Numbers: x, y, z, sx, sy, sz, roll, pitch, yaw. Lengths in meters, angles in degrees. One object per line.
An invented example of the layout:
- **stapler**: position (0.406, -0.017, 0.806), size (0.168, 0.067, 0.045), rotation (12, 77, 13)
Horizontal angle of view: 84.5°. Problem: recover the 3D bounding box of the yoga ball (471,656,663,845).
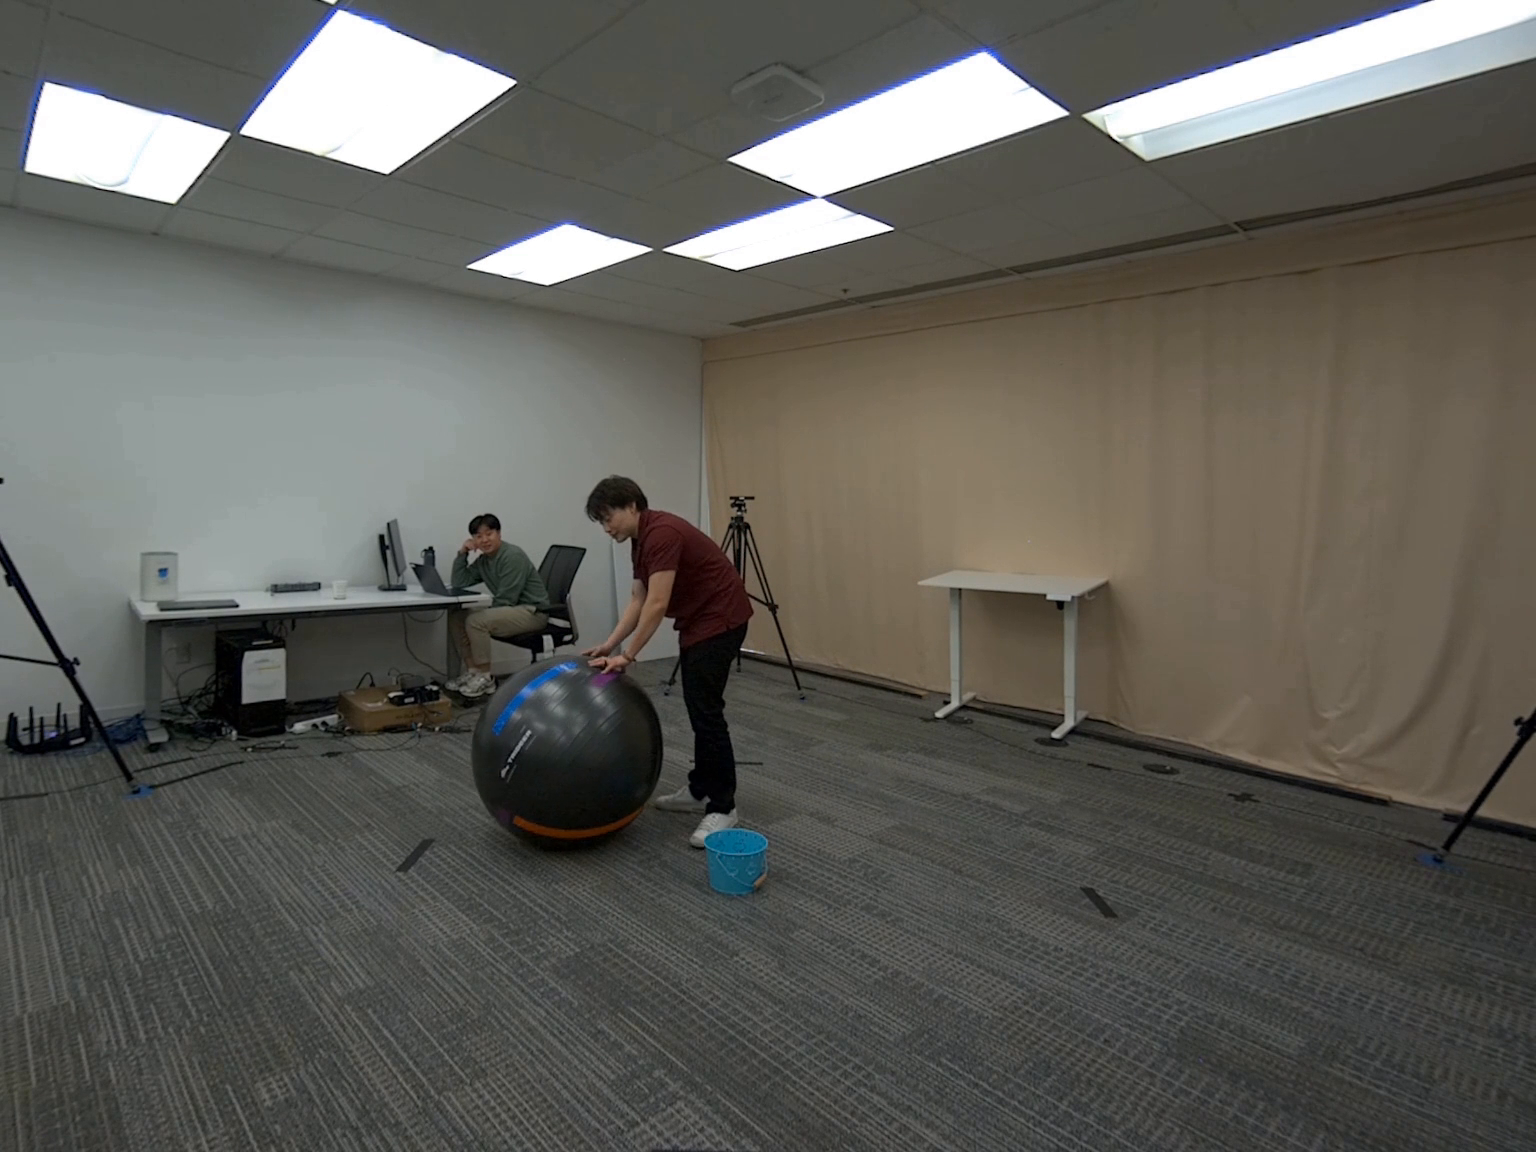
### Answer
- **yoga ball**: position (-0.822, 0.705, 3.400), size (0.757, 0.756, 0.761), rotation (1, 4, -1)
